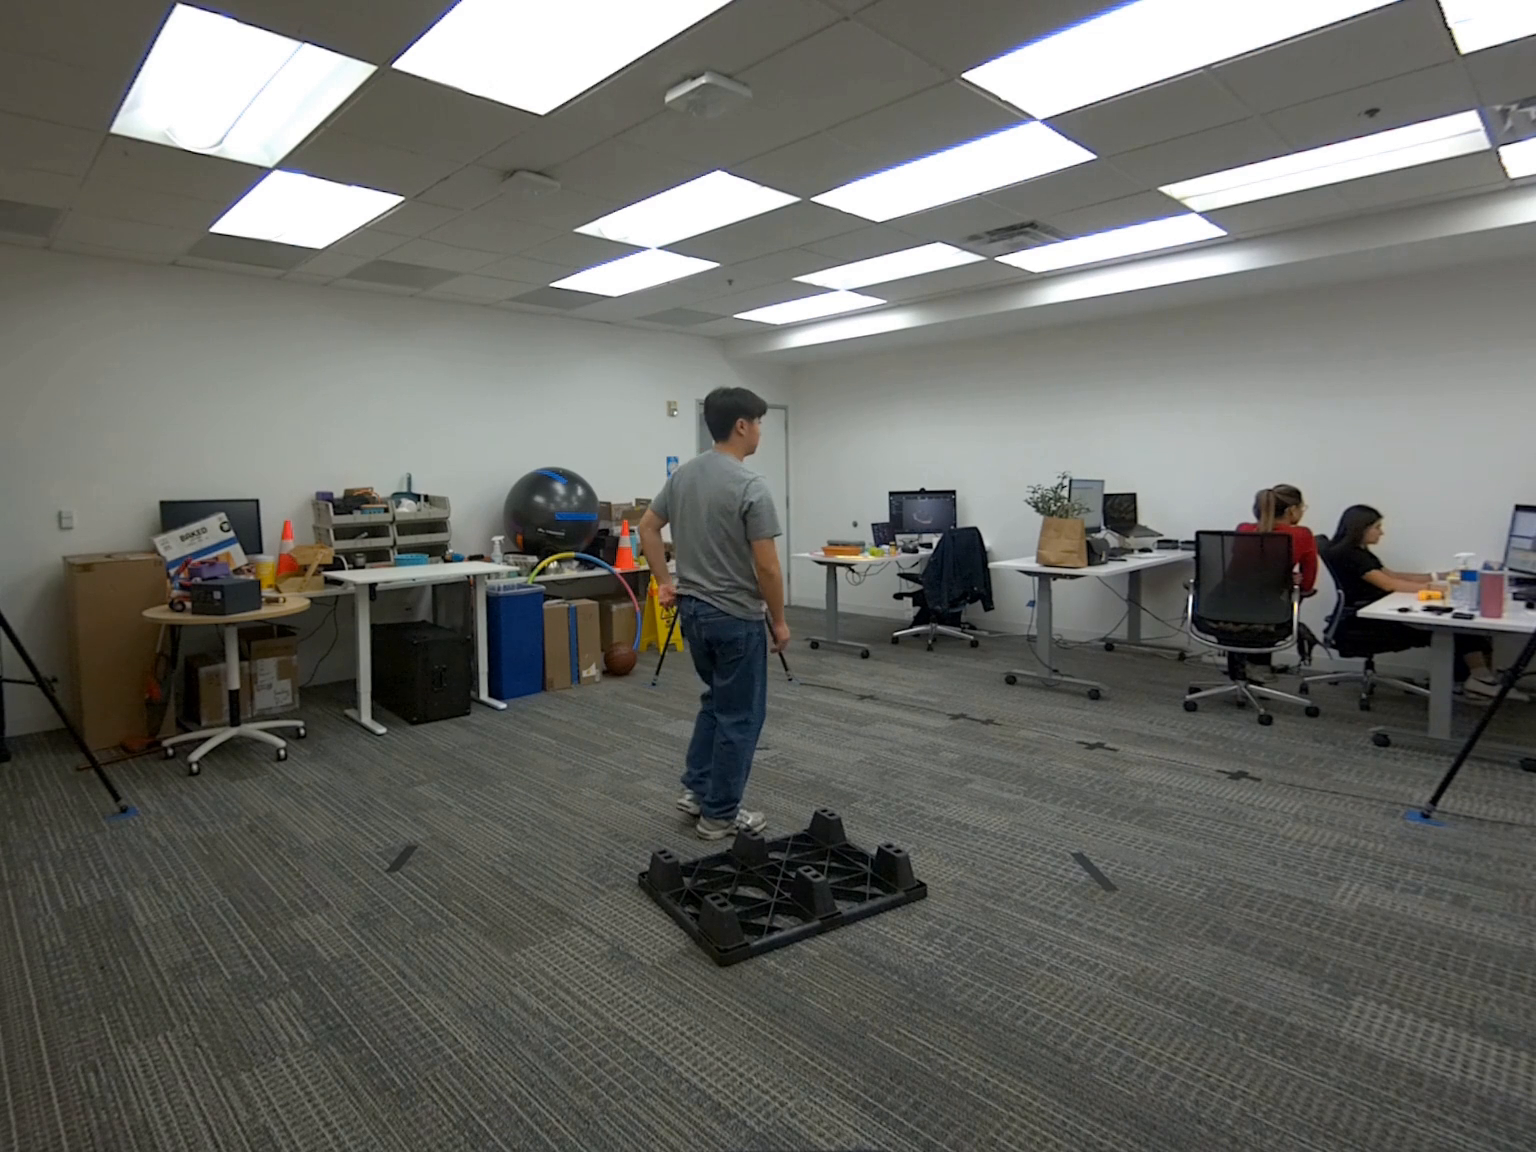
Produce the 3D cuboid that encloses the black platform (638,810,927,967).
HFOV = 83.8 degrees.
[{"bbox_3d":[0.046,1.002,2.897,0.786,0.142,0.623,-5,8,-31],"label":"black platform"}]
